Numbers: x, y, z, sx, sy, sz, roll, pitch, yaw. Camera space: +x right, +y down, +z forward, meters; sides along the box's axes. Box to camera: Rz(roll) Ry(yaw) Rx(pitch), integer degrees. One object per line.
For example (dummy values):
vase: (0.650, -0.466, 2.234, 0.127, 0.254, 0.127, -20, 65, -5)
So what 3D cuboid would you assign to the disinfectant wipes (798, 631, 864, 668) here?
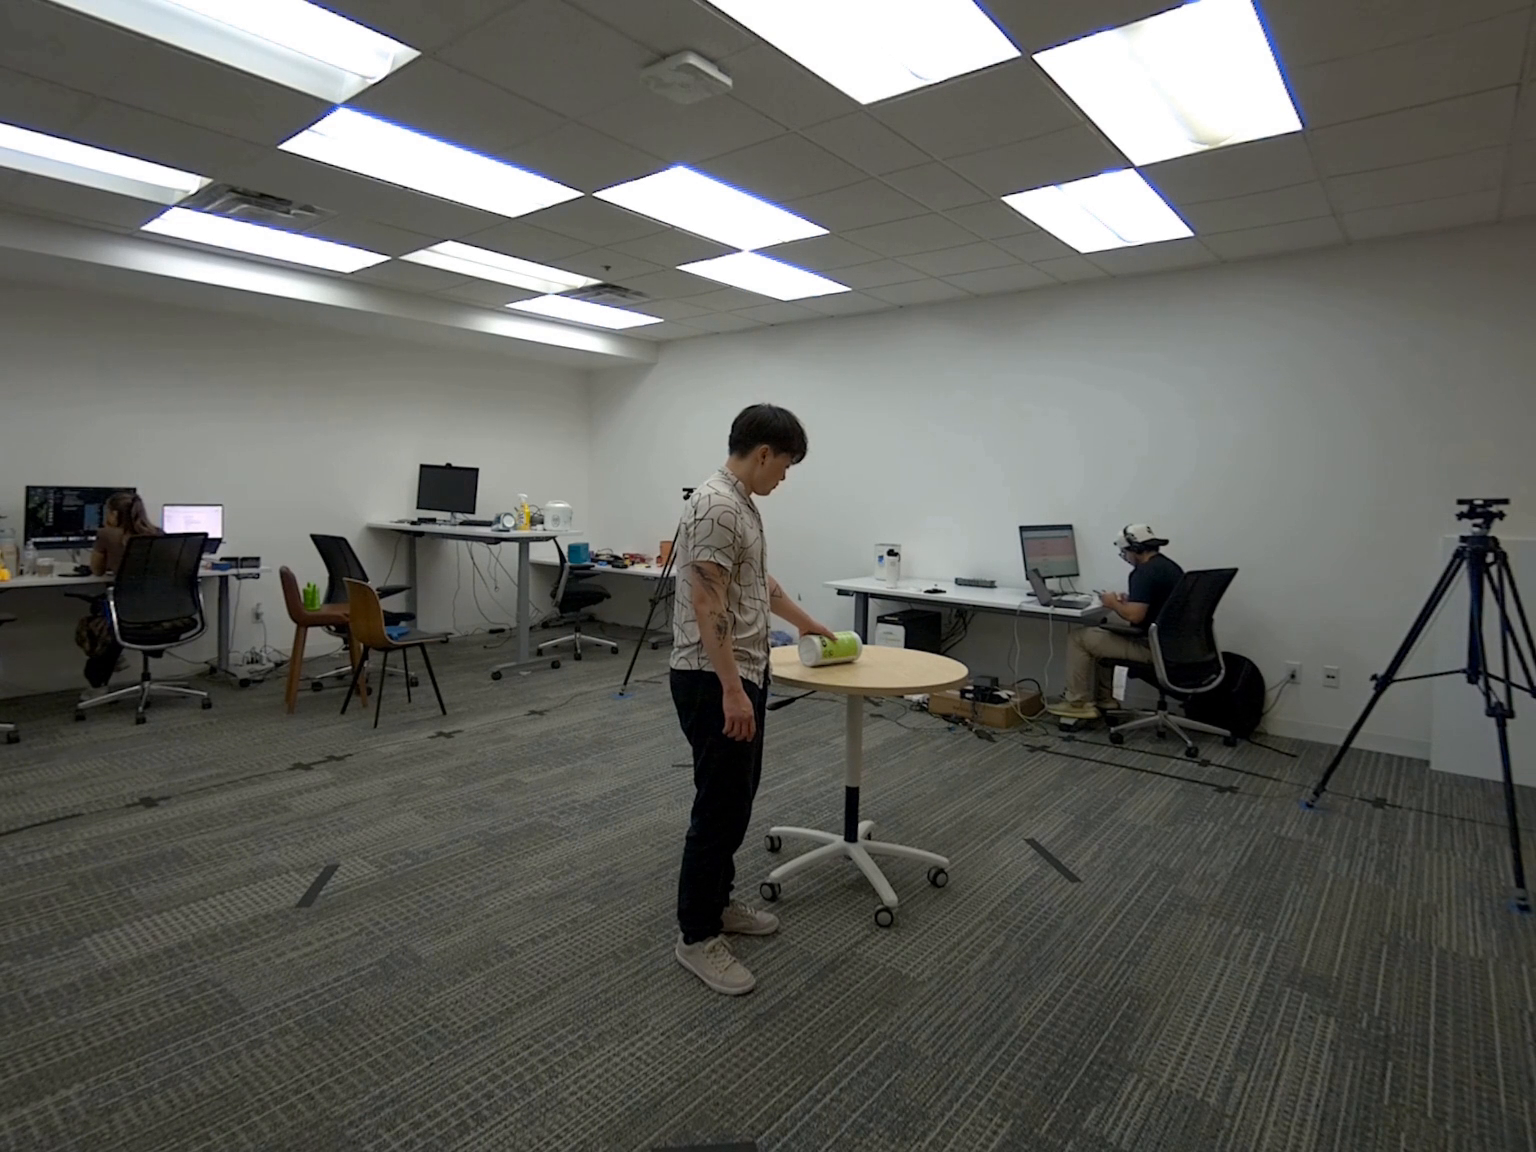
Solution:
disinfectant wipes: (0.213, 0.252, 2.996, 0.211, 0.117, 0.121, -2, 5, -34)
